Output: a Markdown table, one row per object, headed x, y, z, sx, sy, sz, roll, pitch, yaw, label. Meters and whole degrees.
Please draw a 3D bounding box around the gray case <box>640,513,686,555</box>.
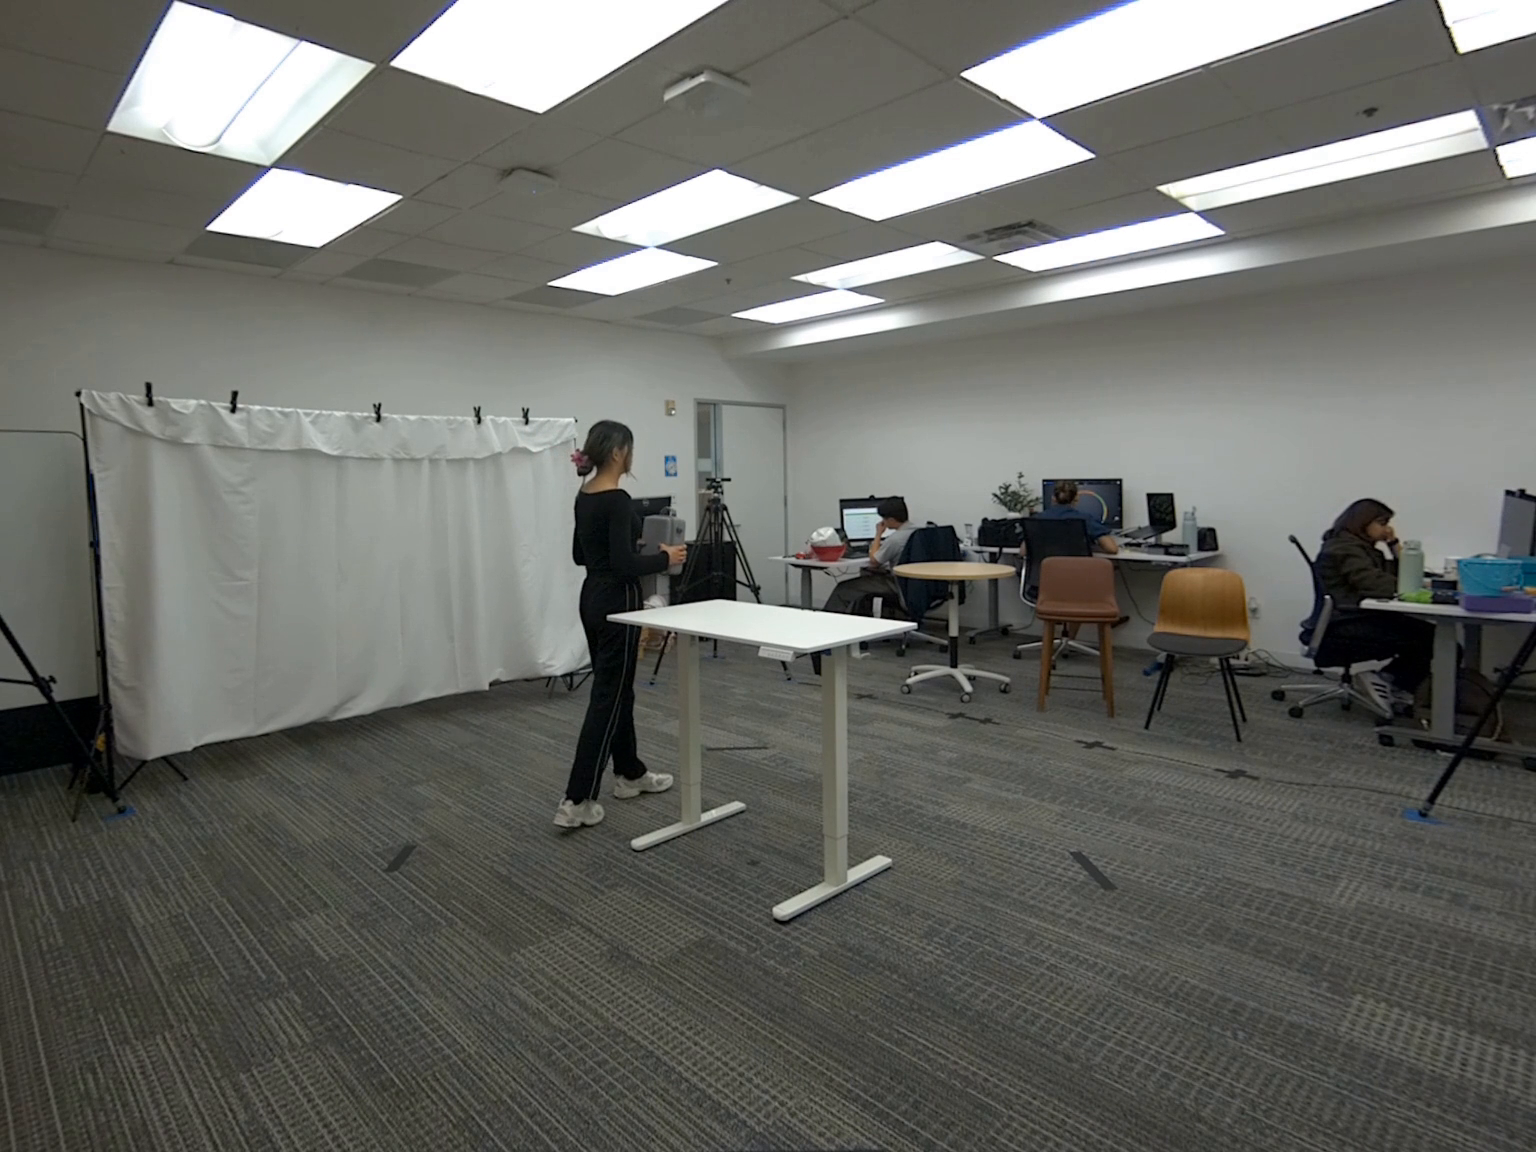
| x | y | z | sx | sy | sz | roll | pitch | yaw | label |
| --- | --- | --- | --- | --- | --- | --- | --- | --- | --- |
| -0.473 | -0.141 | 3.787 | 0.101 | 0.260 | 0.264 | 6 | 1 | -31 | gray case |
